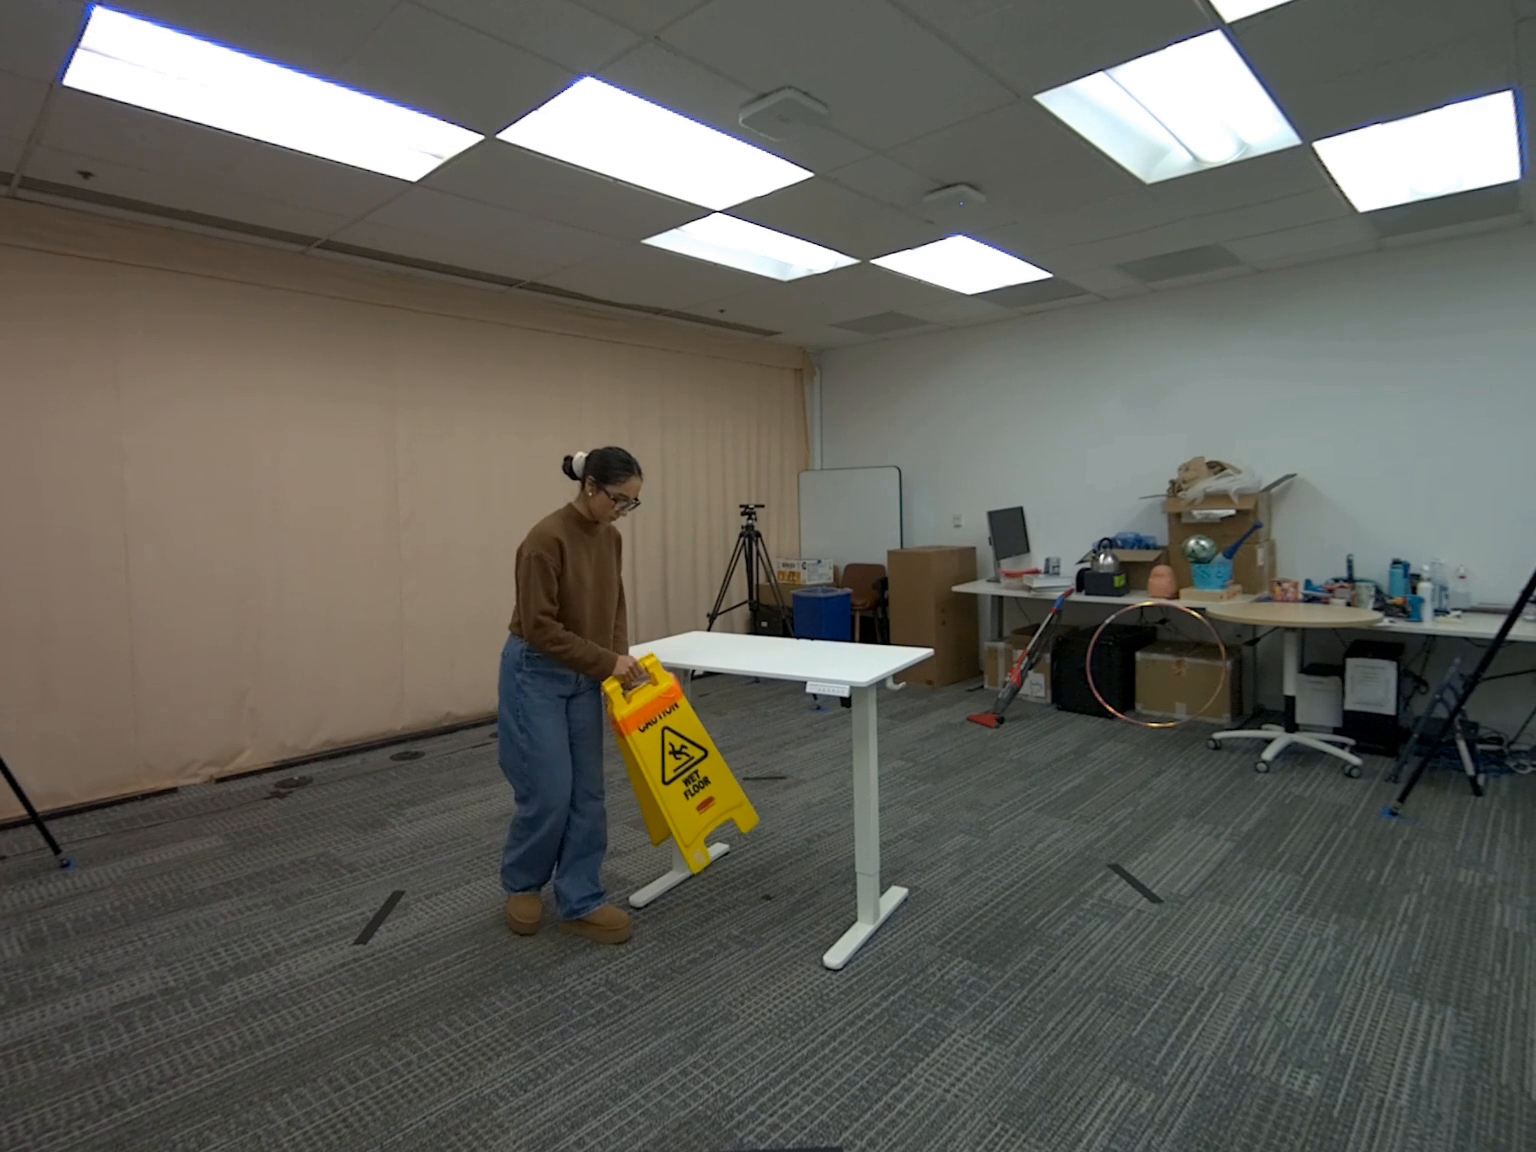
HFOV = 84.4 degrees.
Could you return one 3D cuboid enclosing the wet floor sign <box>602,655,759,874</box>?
[{"bbox_3d":[-0.315,0.572,2.675,0.278,0.637,0.298,-30,18,-28],"label":"wet floor sign"}]
